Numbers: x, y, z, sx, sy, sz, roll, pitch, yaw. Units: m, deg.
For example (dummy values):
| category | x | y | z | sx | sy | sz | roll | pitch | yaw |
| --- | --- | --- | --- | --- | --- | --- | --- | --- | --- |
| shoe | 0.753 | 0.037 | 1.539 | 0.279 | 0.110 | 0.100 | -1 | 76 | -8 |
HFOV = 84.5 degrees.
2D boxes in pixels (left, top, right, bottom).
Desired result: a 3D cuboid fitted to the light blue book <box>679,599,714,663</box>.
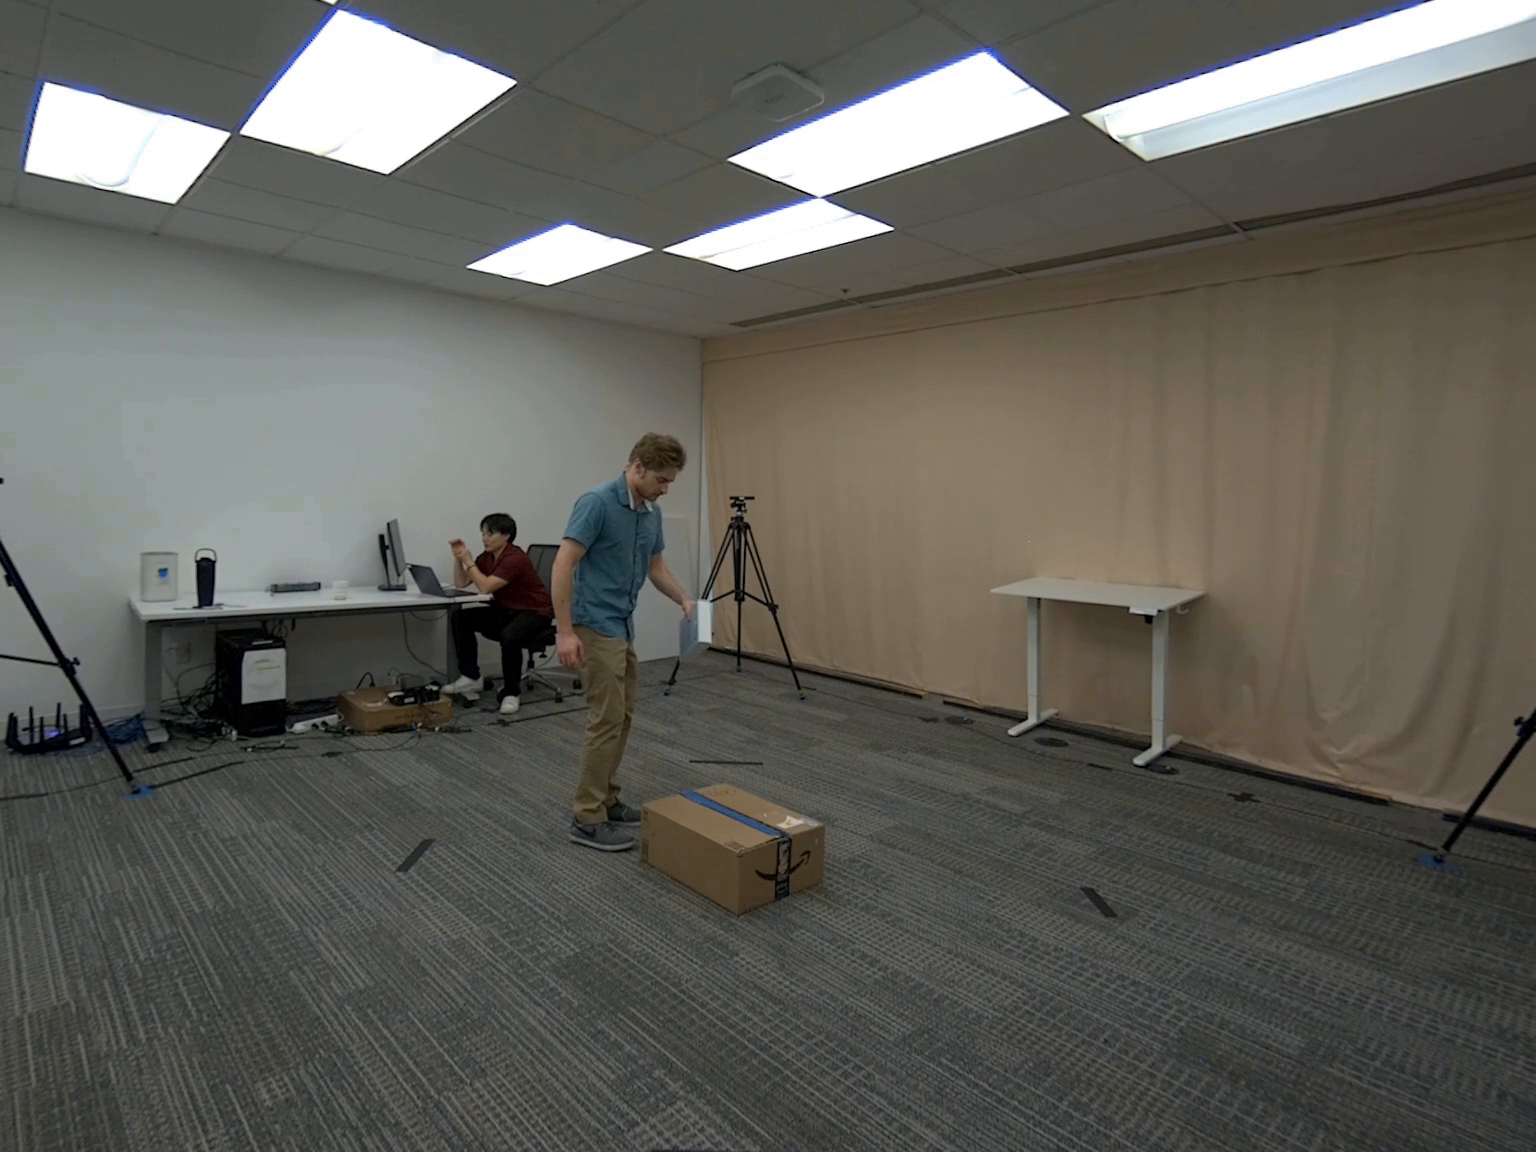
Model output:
| category | x | y | z | sx | sy | sz | roll | pitch | yaw |
| --- | --- | --- | --- | --- | --- | --- | --- | --- | --- |
| light blue book | -0.324 | 0.233 | 3.504 | 0.058 | 0.195 | 0.260 | 3 | -25 | -19 |
